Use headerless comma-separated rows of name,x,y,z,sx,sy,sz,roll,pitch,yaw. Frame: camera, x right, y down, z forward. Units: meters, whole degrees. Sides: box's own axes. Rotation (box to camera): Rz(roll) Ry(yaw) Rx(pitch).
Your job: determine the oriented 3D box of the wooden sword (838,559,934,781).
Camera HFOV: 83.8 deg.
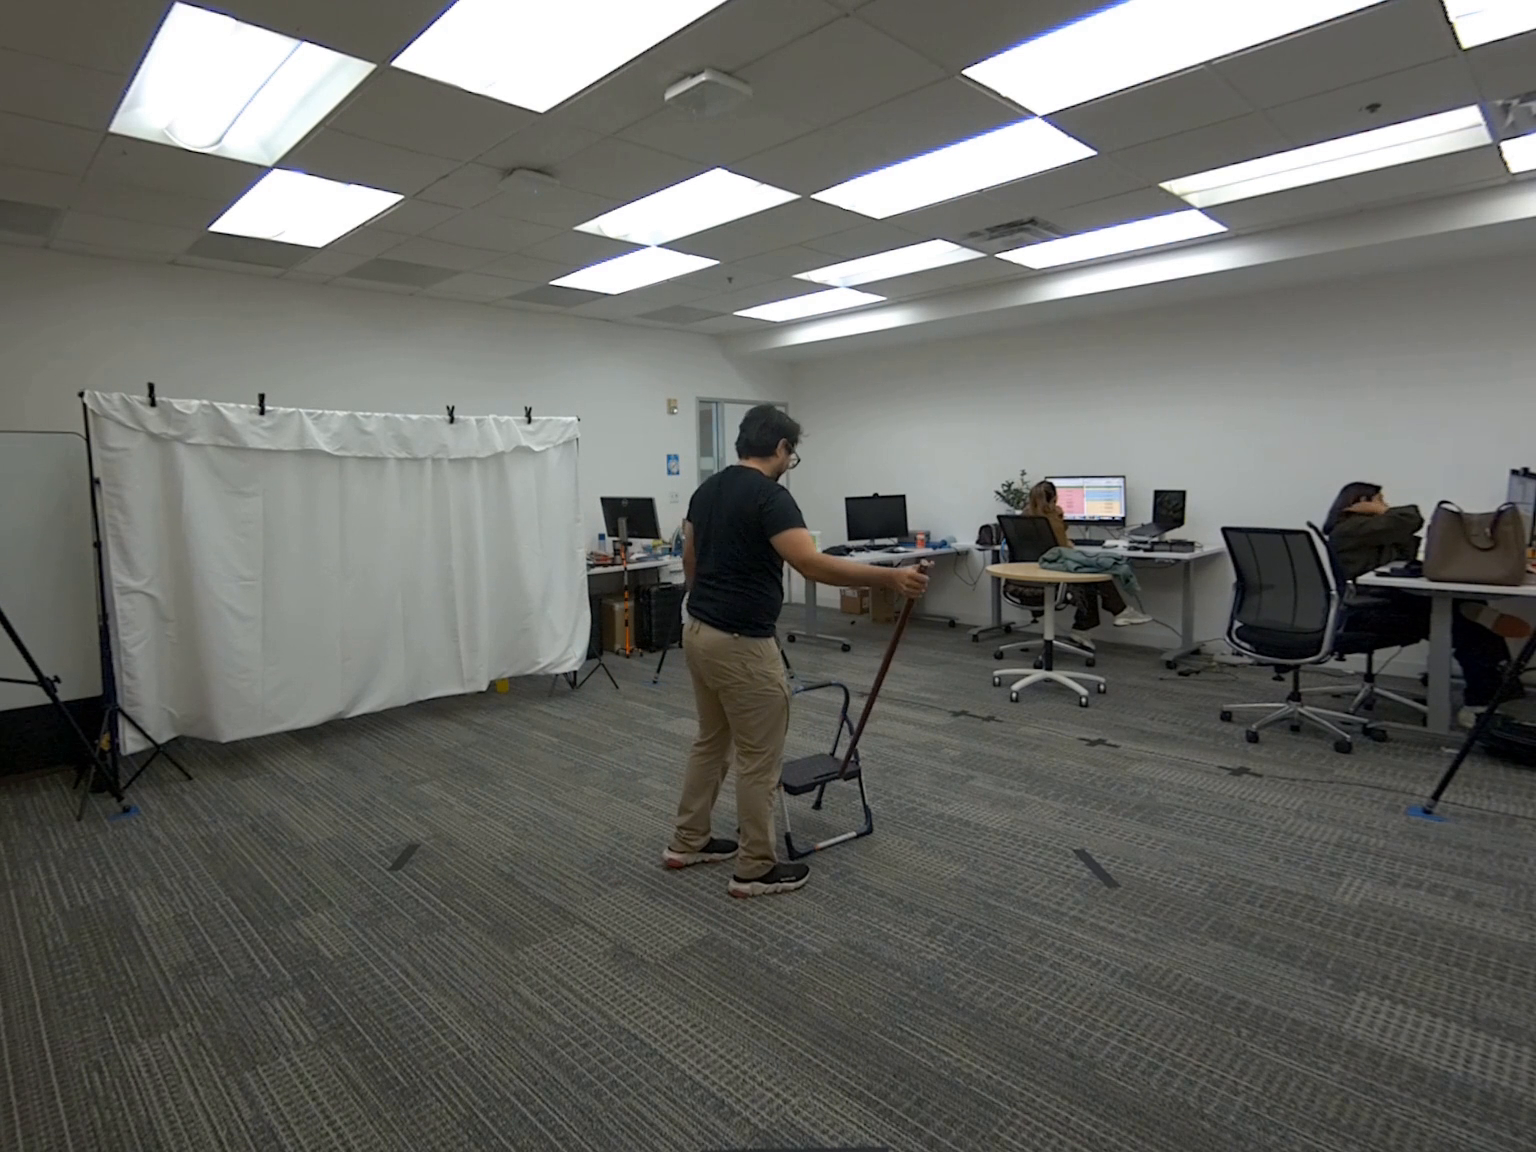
wooden sword,0.342,0.367,2.760,0.052,1.004,0.024,25,40,14
